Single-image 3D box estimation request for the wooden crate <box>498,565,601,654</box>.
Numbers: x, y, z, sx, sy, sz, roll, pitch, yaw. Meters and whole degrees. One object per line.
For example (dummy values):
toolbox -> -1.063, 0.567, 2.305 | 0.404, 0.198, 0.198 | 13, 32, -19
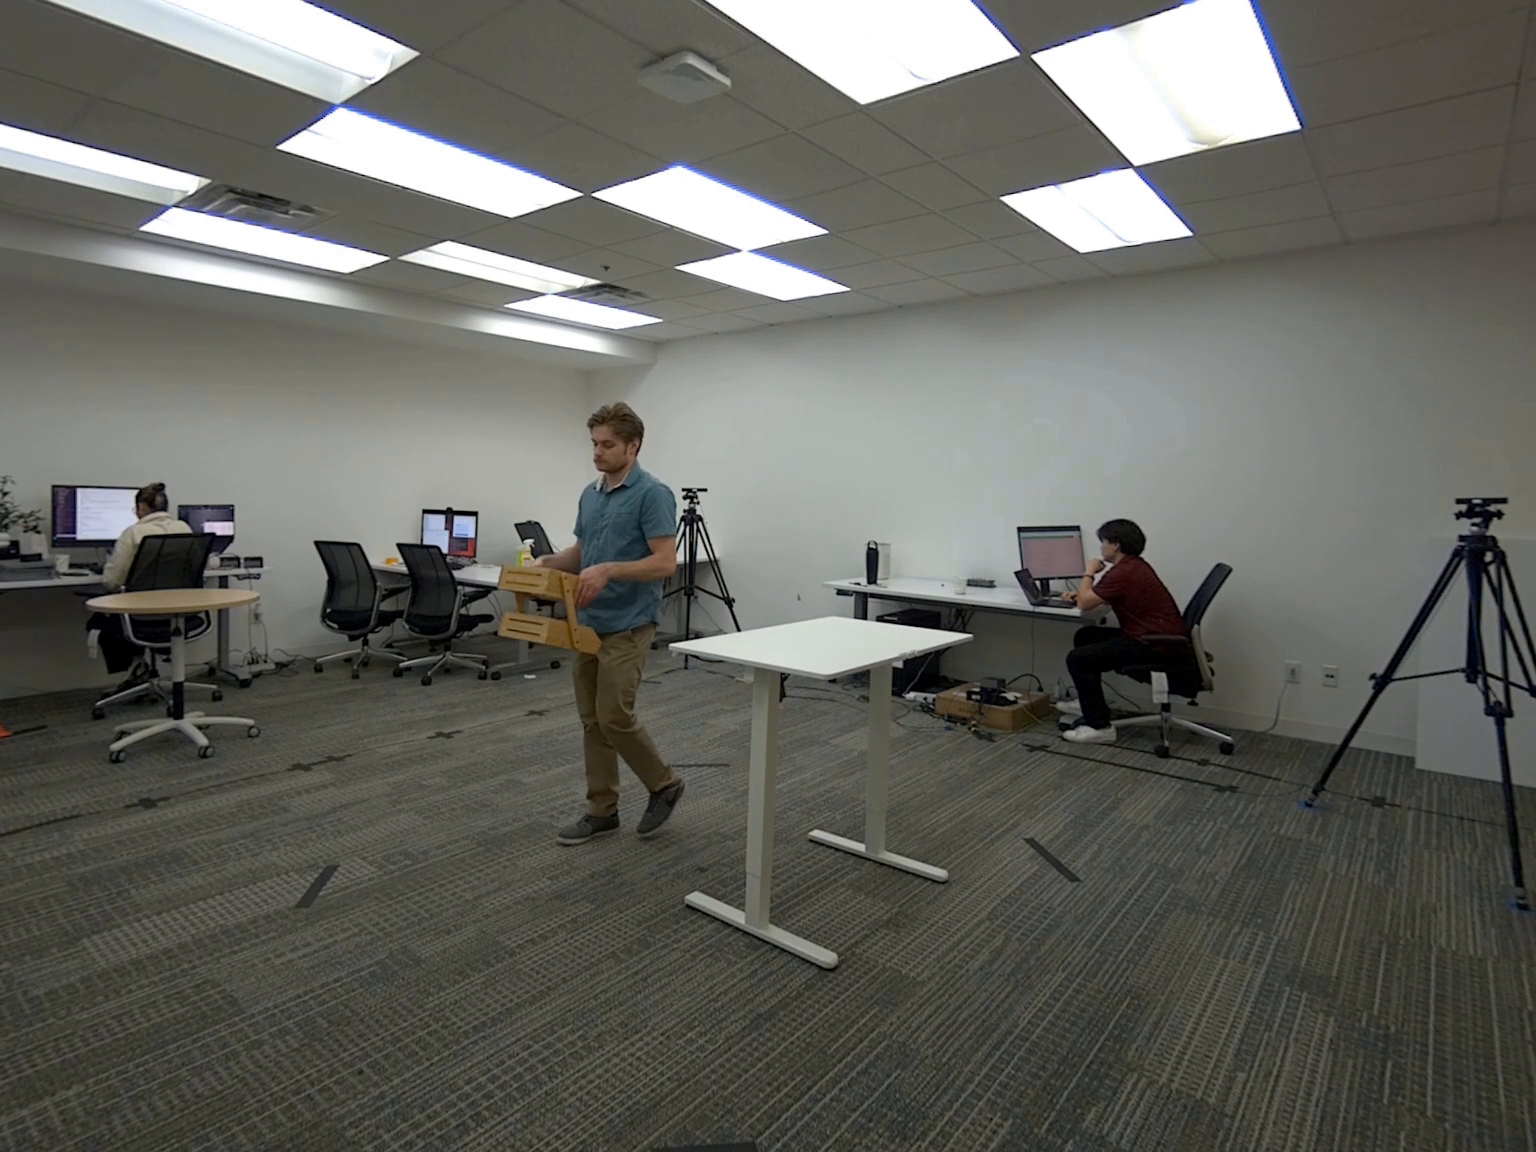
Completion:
wooden crate -> -0.809, 0.118, 3.154 | 0.335, 0.275, 0.290 | 3, -11, 40
